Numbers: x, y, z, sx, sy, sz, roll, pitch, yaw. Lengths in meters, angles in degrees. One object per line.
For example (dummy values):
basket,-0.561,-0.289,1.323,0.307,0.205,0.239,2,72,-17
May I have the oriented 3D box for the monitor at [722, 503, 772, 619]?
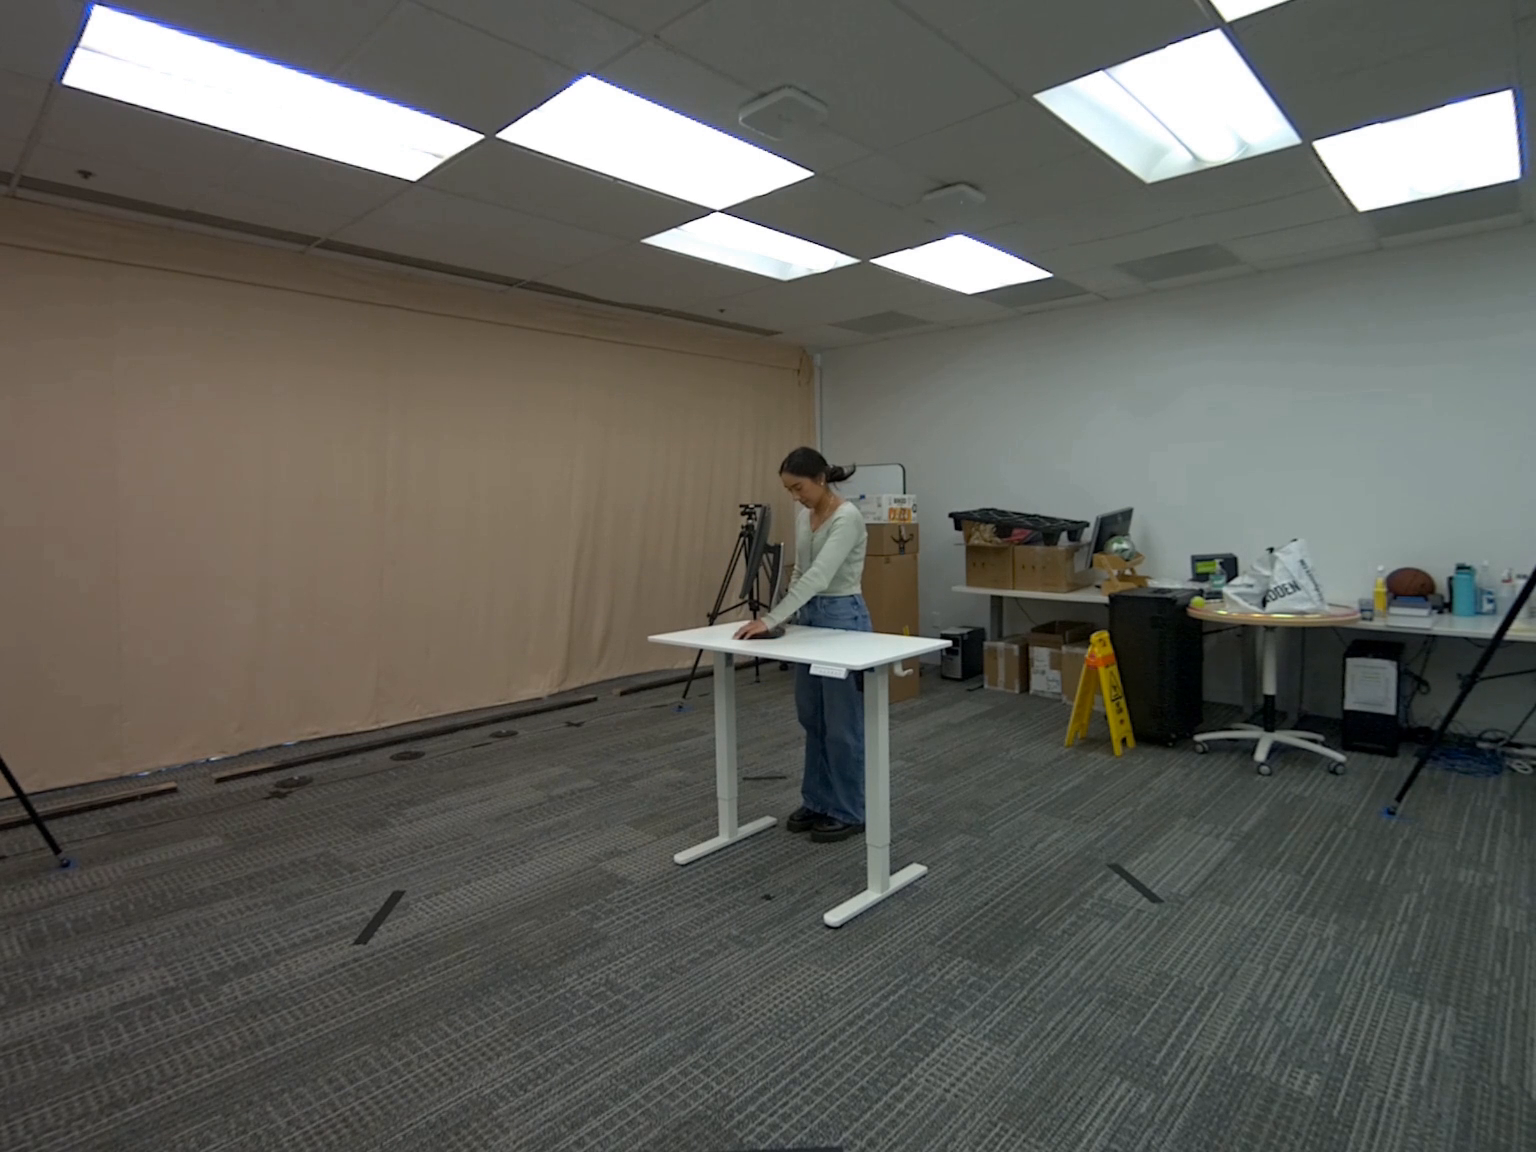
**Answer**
monitor,-0.020,-0.028,3.320,0.175,0.515,0.528,-3,4,3
